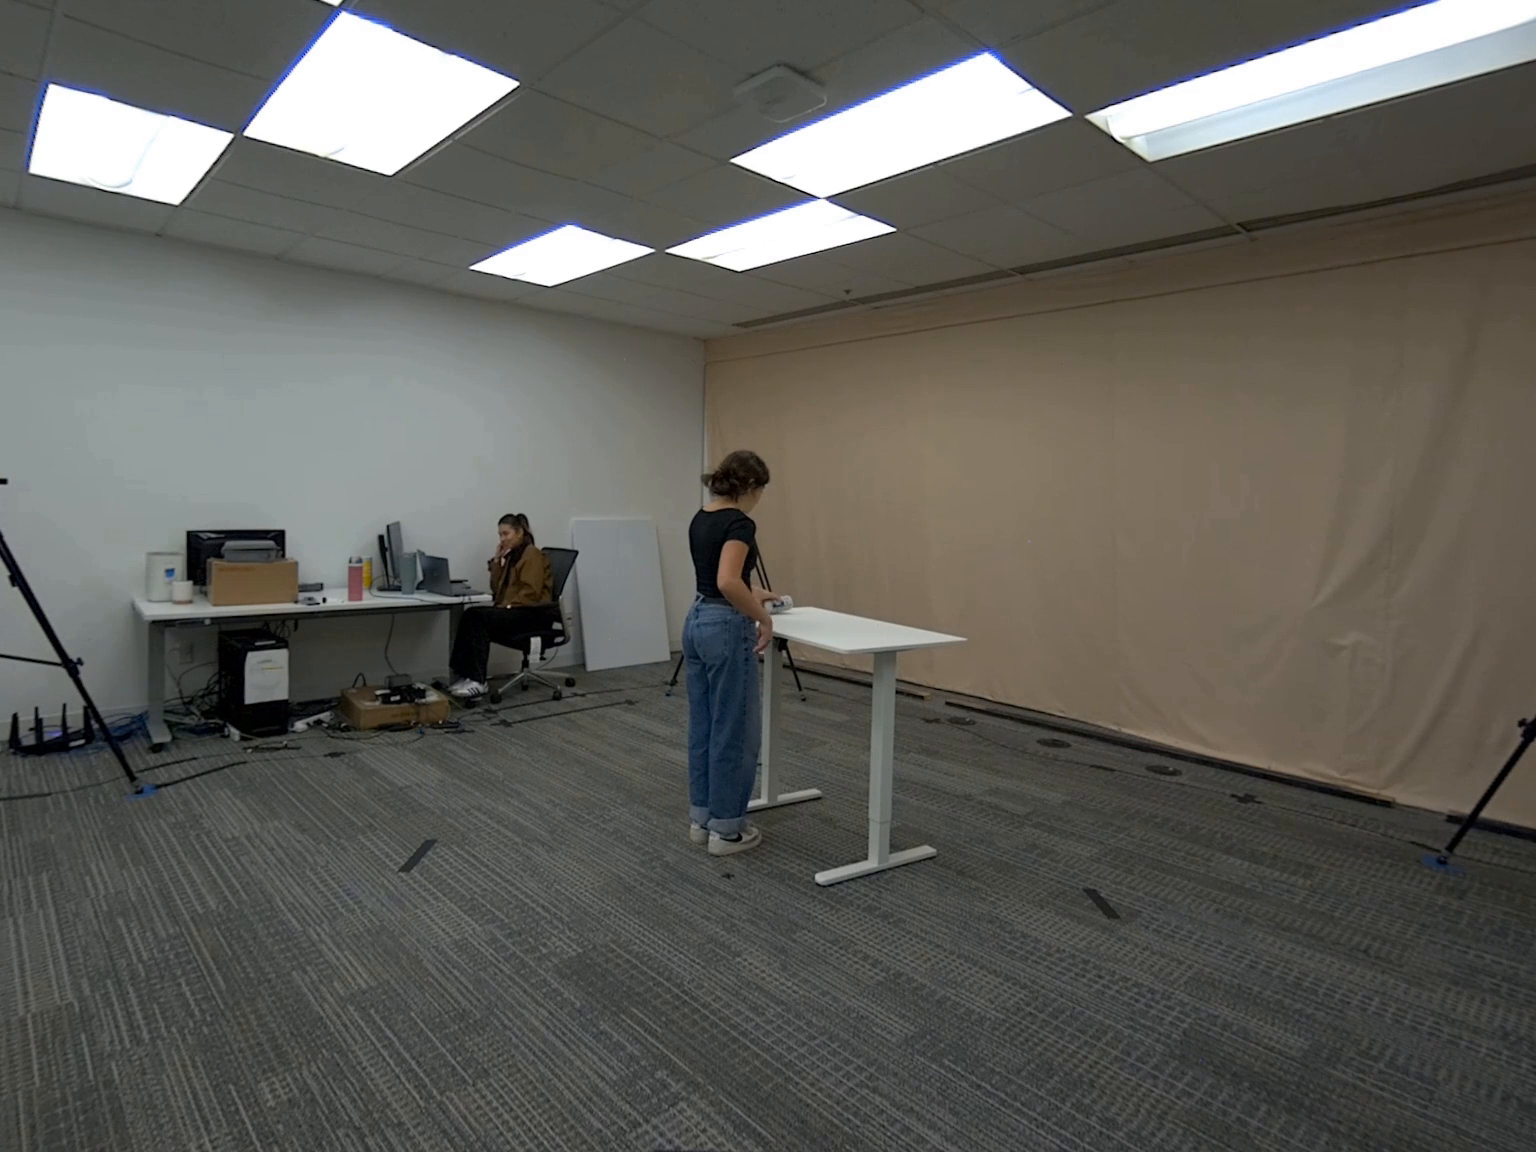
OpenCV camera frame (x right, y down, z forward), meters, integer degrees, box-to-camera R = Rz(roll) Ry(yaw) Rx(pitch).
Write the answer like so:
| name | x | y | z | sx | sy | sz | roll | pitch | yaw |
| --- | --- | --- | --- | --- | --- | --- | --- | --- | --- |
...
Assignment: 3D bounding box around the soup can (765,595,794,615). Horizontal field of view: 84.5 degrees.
| name | x | y | z | sx | sy | sz | roll | pitch | yaw |
| --- | --- | --- | --- | --- | --- | --- | --- | --- | --- |
| soup can | 0.043 | 0.129 | 3.786 | 0.119 | 0.067 | 0.069 | -11 | 10 | -33 |
